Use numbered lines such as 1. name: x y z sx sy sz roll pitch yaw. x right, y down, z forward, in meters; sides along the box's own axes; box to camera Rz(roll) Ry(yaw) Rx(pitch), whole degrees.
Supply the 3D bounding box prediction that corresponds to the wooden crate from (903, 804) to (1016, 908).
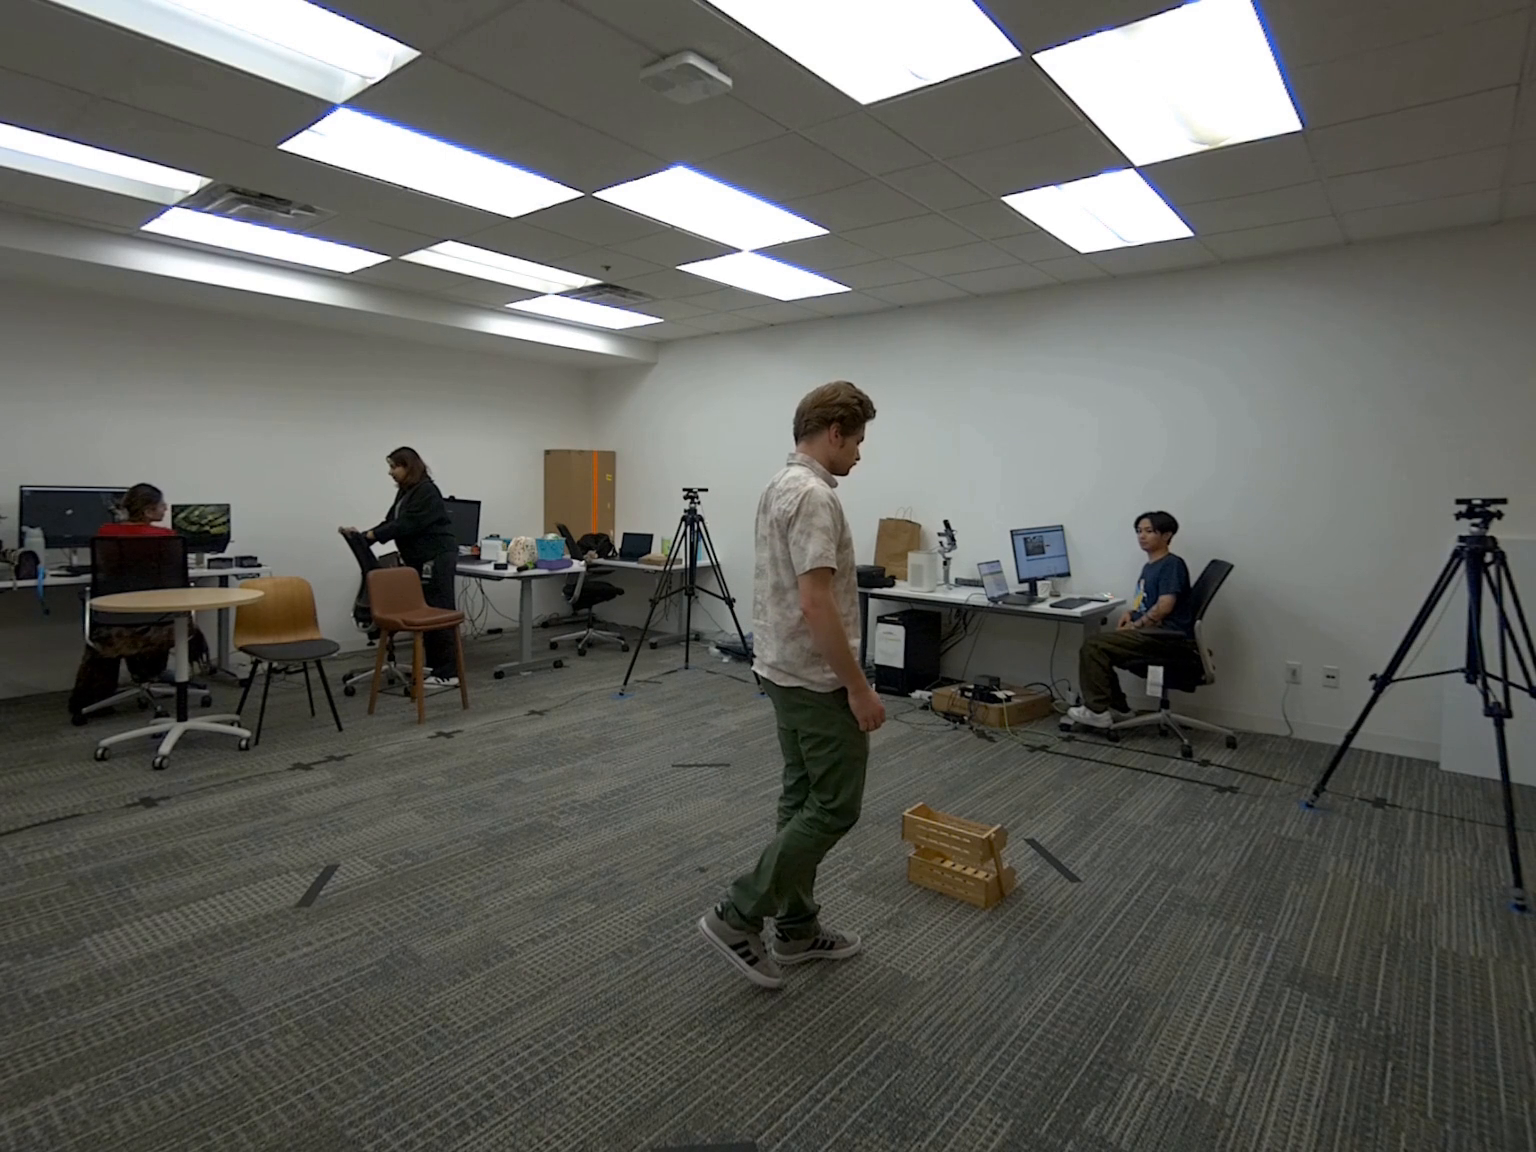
1. wooden crate: 0.677 0.964 3.028 0.335 0.272 0.293 5 7 39
